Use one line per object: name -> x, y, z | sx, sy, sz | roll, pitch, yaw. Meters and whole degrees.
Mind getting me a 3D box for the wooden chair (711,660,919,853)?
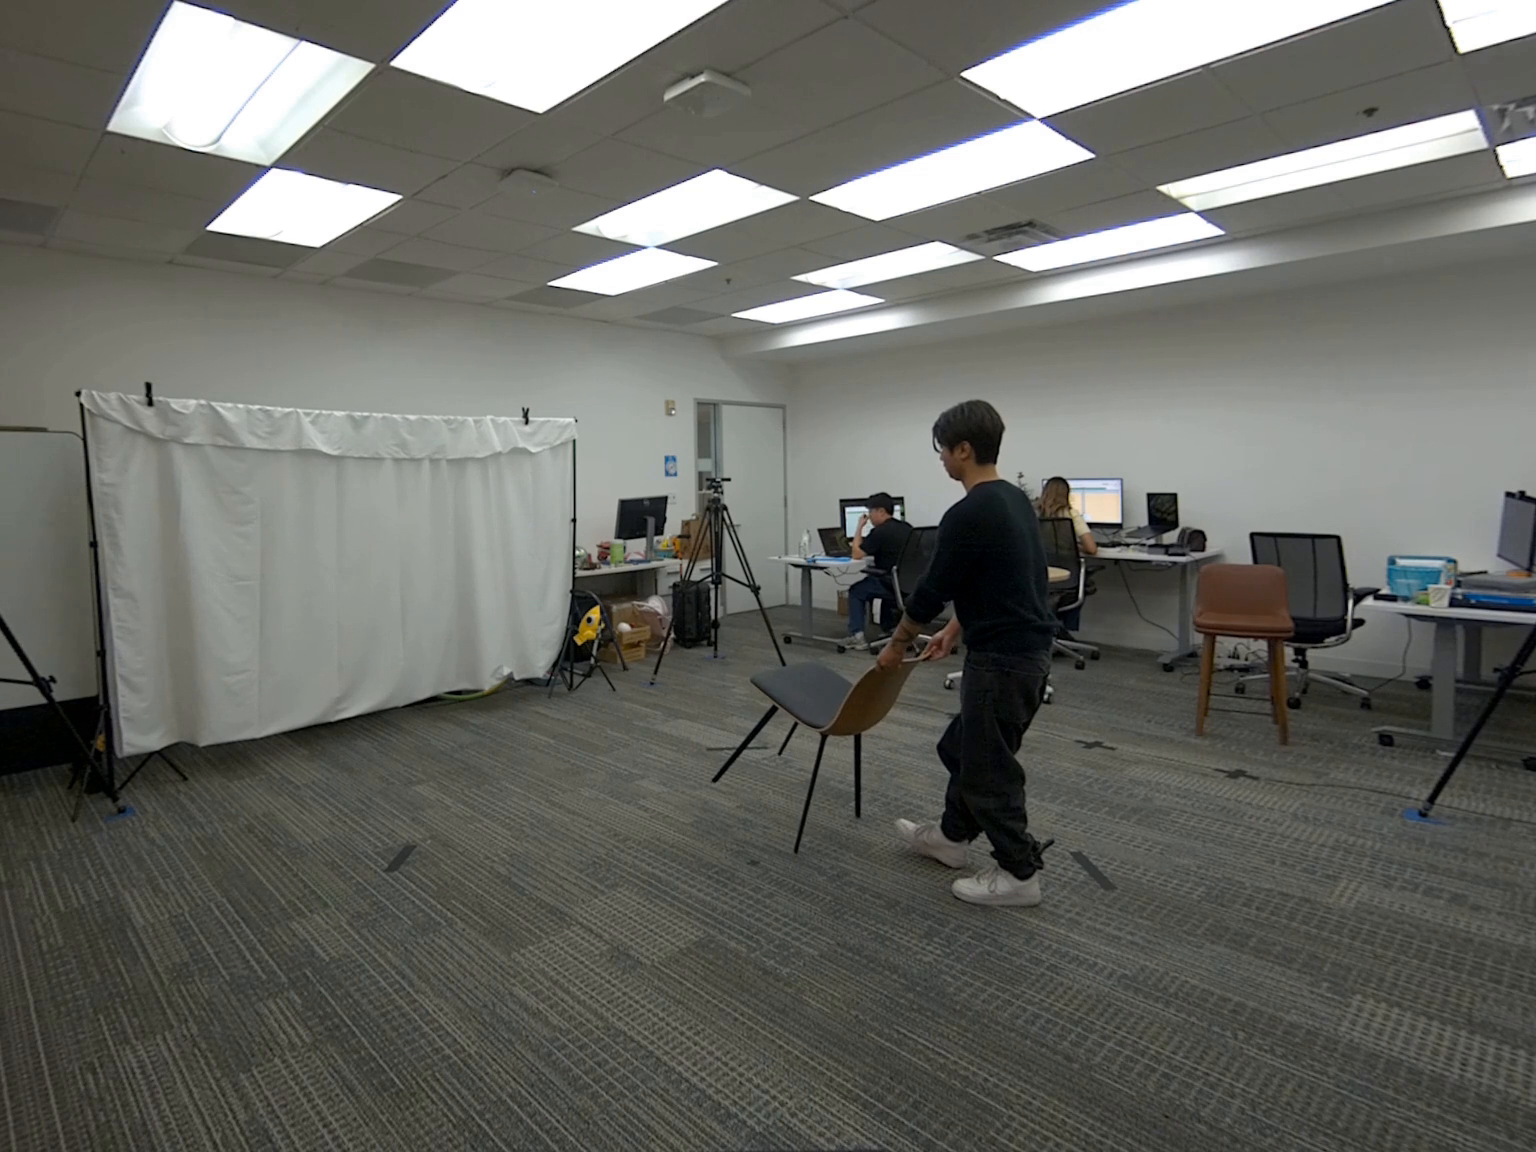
wooden chair -> 0.200, 0.526, 3.336 | 0.542, 0.868, 0.466 | 37, 26, 32
